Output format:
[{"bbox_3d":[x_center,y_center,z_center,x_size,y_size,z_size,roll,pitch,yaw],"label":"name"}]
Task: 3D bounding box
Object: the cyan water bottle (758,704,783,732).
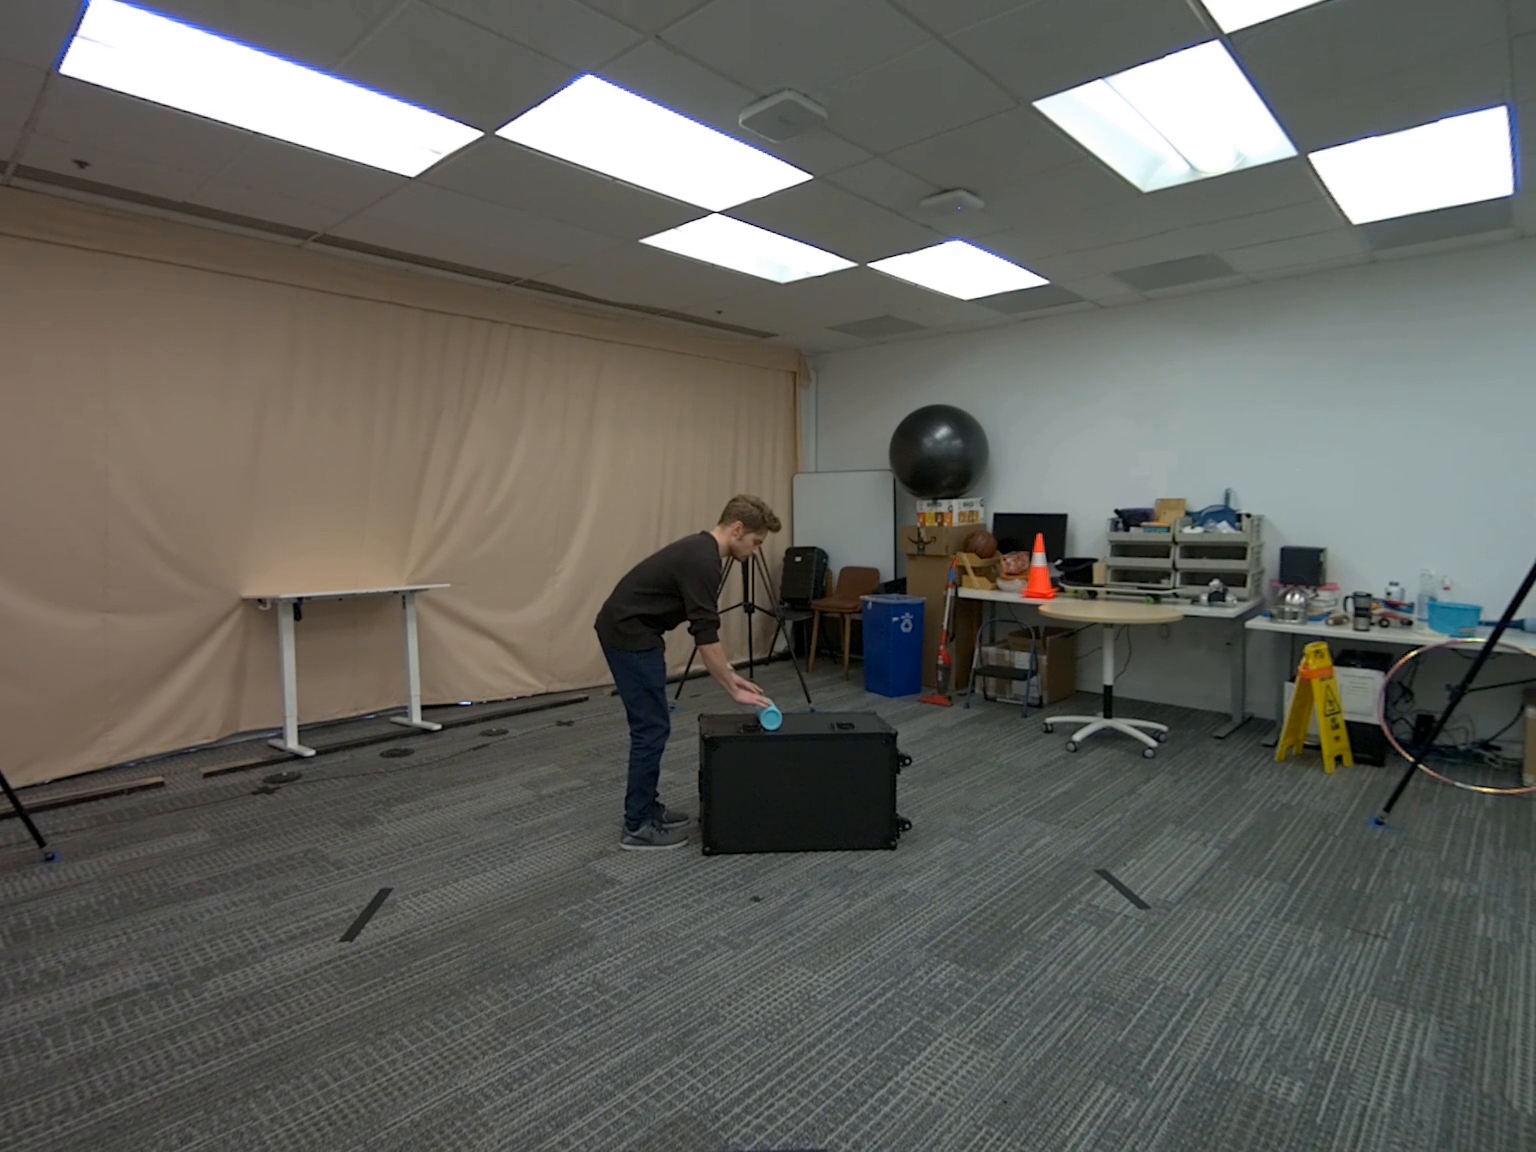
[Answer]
[{"bbox_3d":[-0.001,0.573,3.541,0.092,0.092,0.285,0,2,-6],"label":"cyan water bottle"}]
